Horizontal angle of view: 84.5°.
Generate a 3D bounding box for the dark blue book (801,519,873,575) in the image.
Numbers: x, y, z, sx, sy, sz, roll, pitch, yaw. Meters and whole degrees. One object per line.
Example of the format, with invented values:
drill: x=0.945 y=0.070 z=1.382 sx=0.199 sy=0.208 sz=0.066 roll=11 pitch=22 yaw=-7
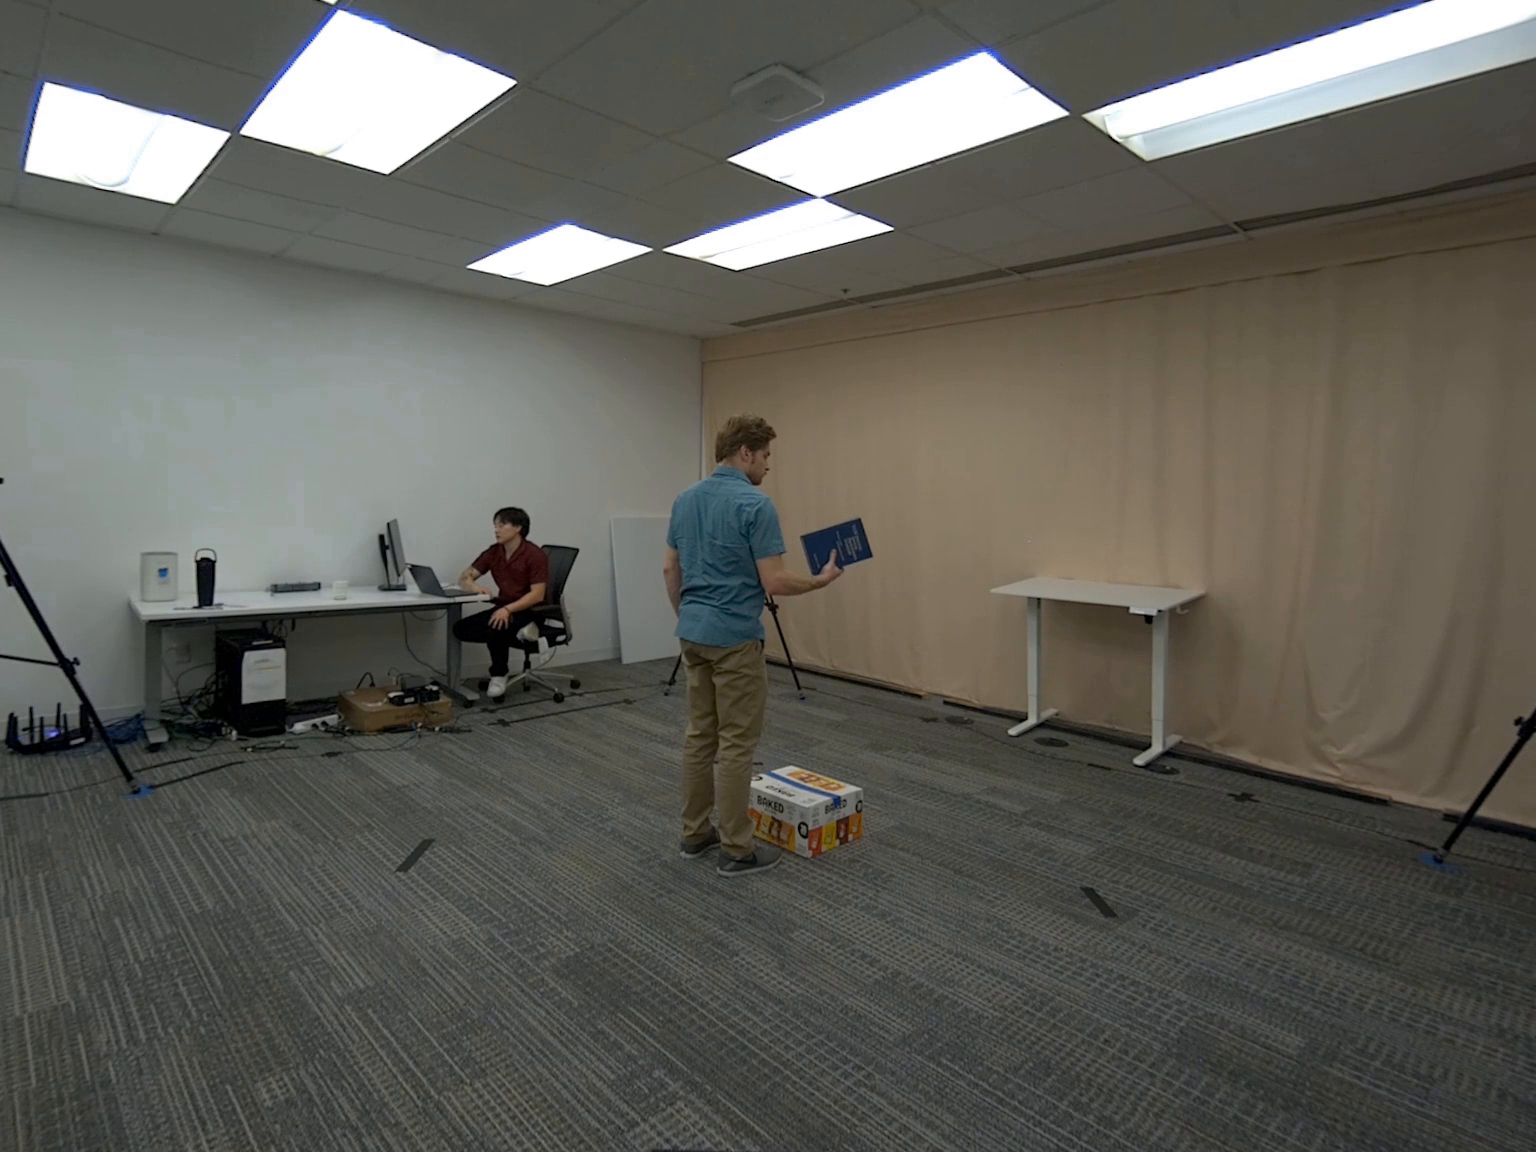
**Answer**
dark blue book: x=0.260 y=-0.117 z=3.271 sx=0.245 sy=0.164 sz=0.045 roll=-17 pitch=-3 yaw=-2
